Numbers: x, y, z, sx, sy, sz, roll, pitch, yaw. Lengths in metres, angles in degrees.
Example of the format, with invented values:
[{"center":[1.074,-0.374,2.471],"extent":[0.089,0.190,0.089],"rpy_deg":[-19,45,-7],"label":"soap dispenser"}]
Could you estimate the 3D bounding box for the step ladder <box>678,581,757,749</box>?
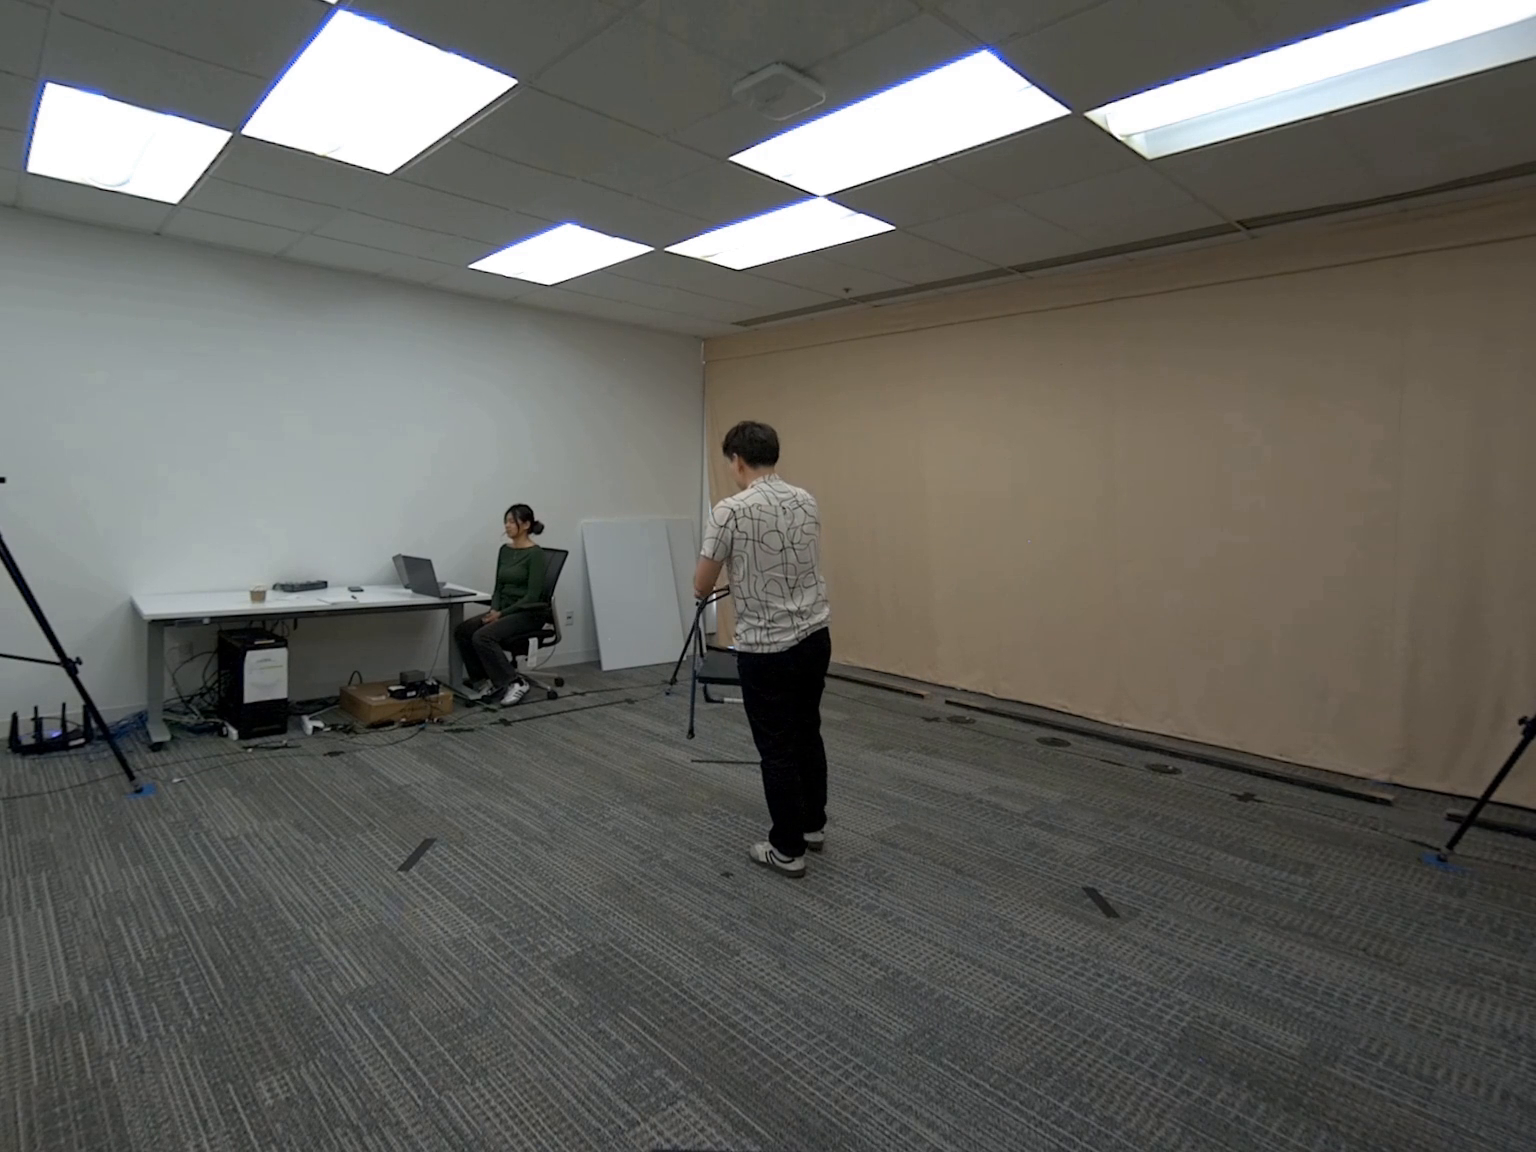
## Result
[{"center":[-0.123,0.369,3.634],"extent":[0.434,0.598,0.351],"rpy_deg":[2,18,10],"label":"step ladder"}]
